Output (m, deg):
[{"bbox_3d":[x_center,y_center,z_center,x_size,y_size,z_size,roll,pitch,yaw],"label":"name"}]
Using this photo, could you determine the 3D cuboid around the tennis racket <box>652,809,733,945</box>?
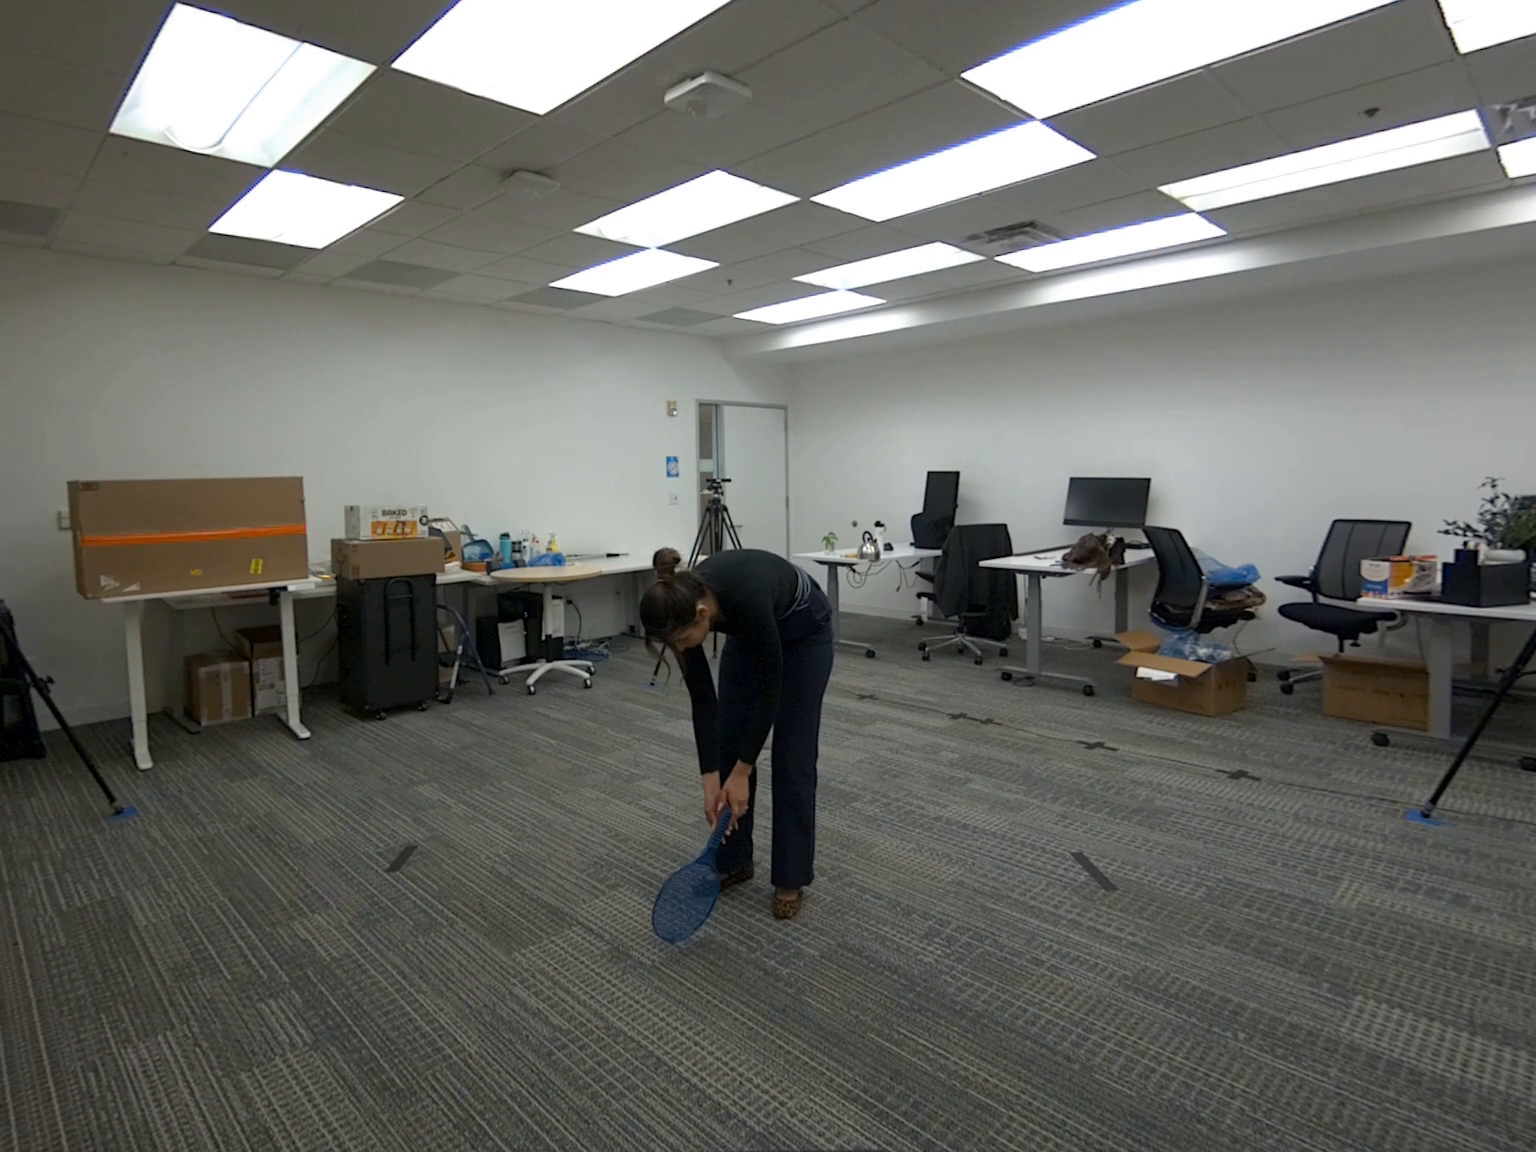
[{"bbox_3d":[-0.206,0.911,2.569,0.207,0.432,0.033,25,3,-30],"label":"tennis racket"}]
